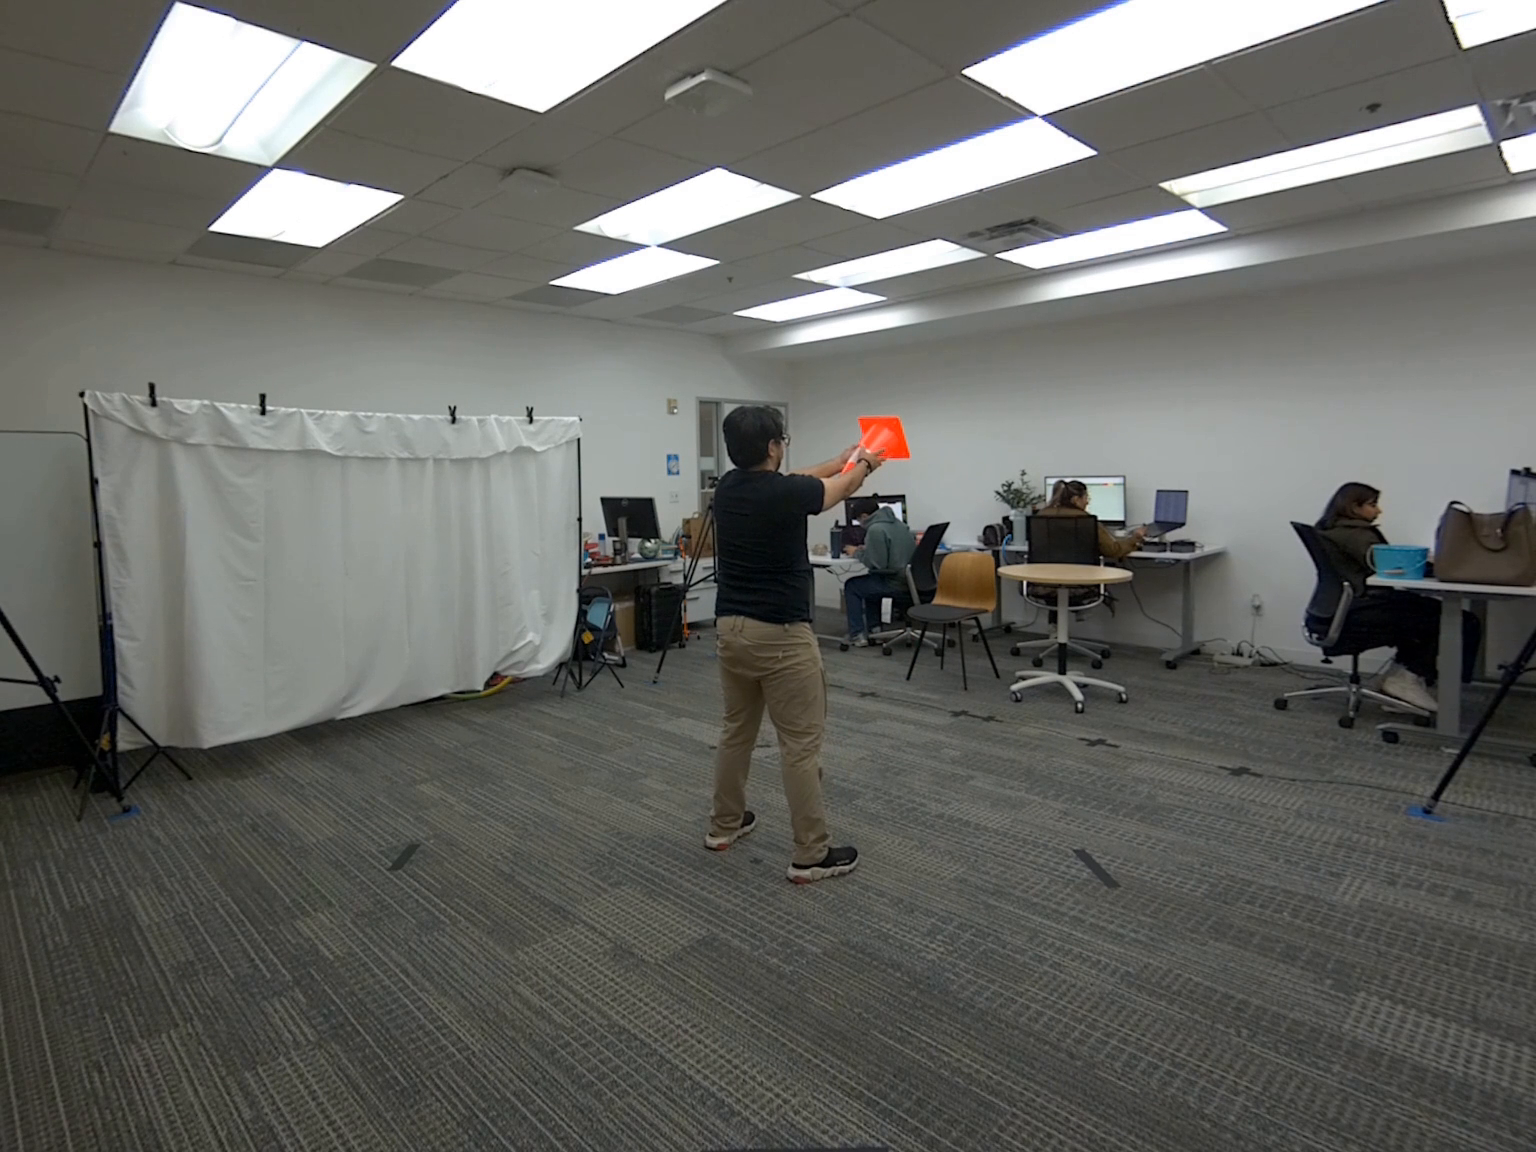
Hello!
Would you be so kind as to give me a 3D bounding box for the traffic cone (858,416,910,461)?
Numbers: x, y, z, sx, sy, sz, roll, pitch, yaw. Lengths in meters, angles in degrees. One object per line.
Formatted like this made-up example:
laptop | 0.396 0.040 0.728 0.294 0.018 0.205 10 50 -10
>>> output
traffic cone | 0.386 -0.461 3.435 0.211 0.197 0.383 7 41 40
